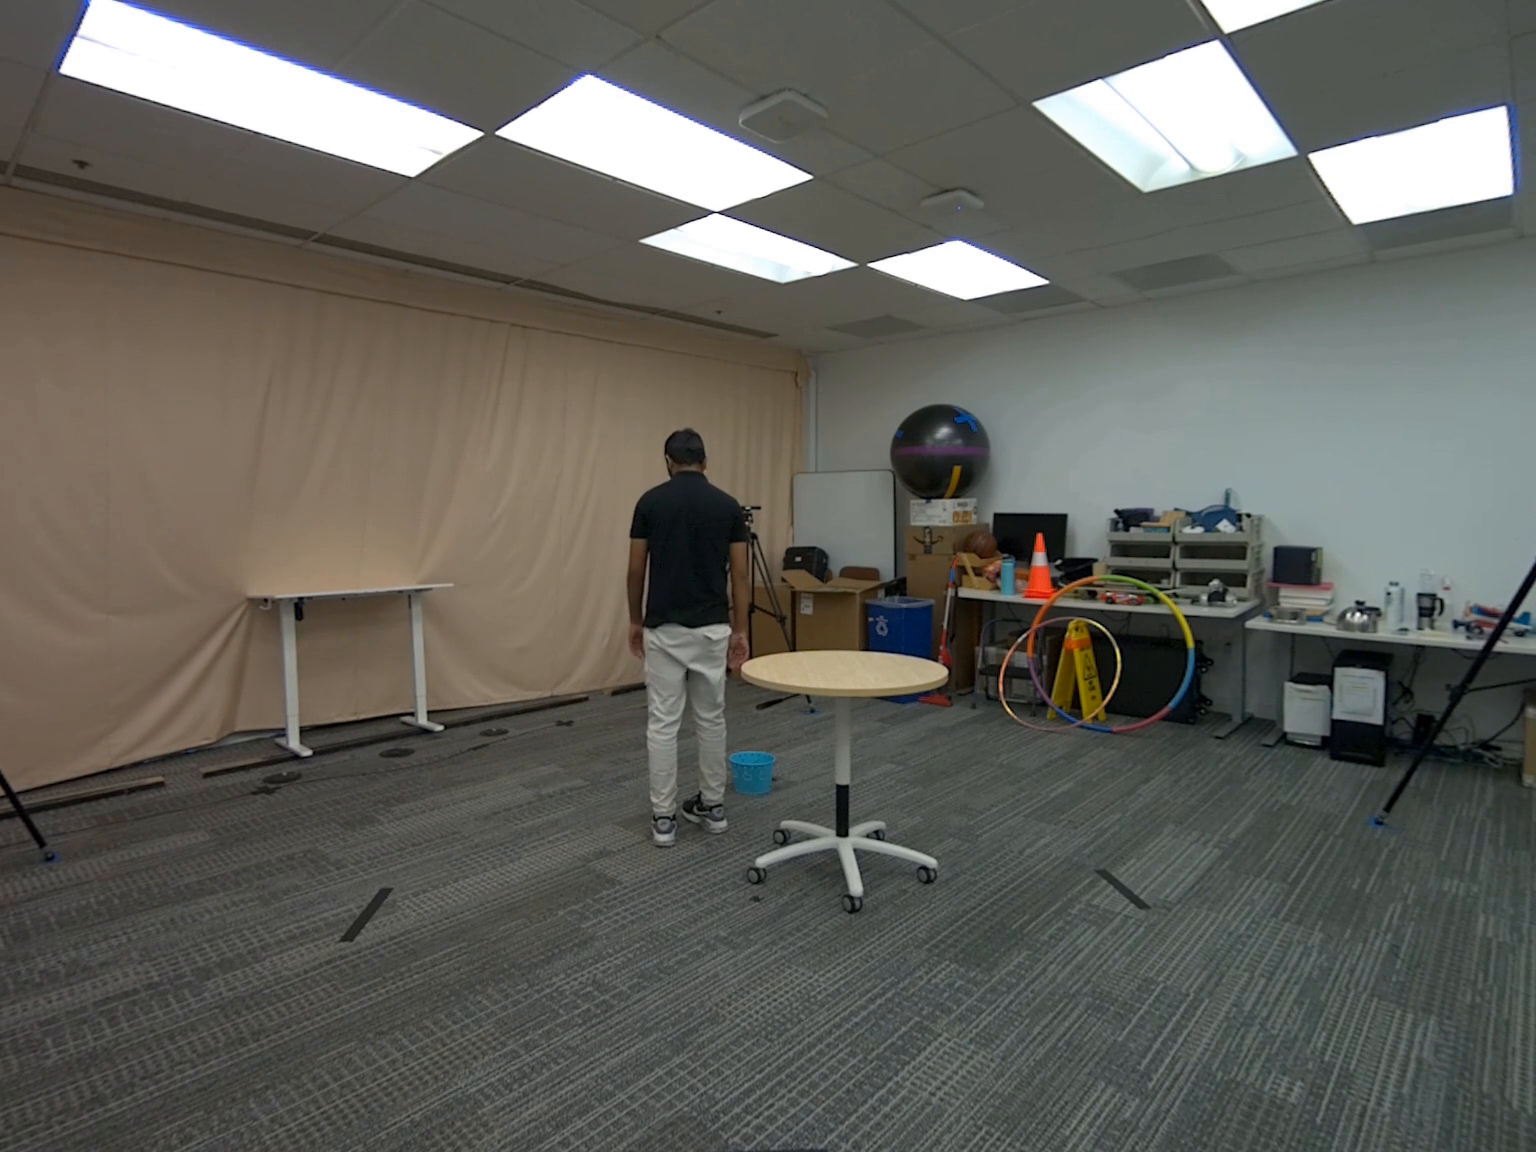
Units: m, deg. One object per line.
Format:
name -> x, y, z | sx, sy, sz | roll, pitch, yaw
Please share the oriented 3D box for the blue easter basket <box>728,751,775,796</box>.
blue easter basket -> -0.073, 0.972, 4.171 | 0.243, 0.155, 0.244 | -1, 4, -2
